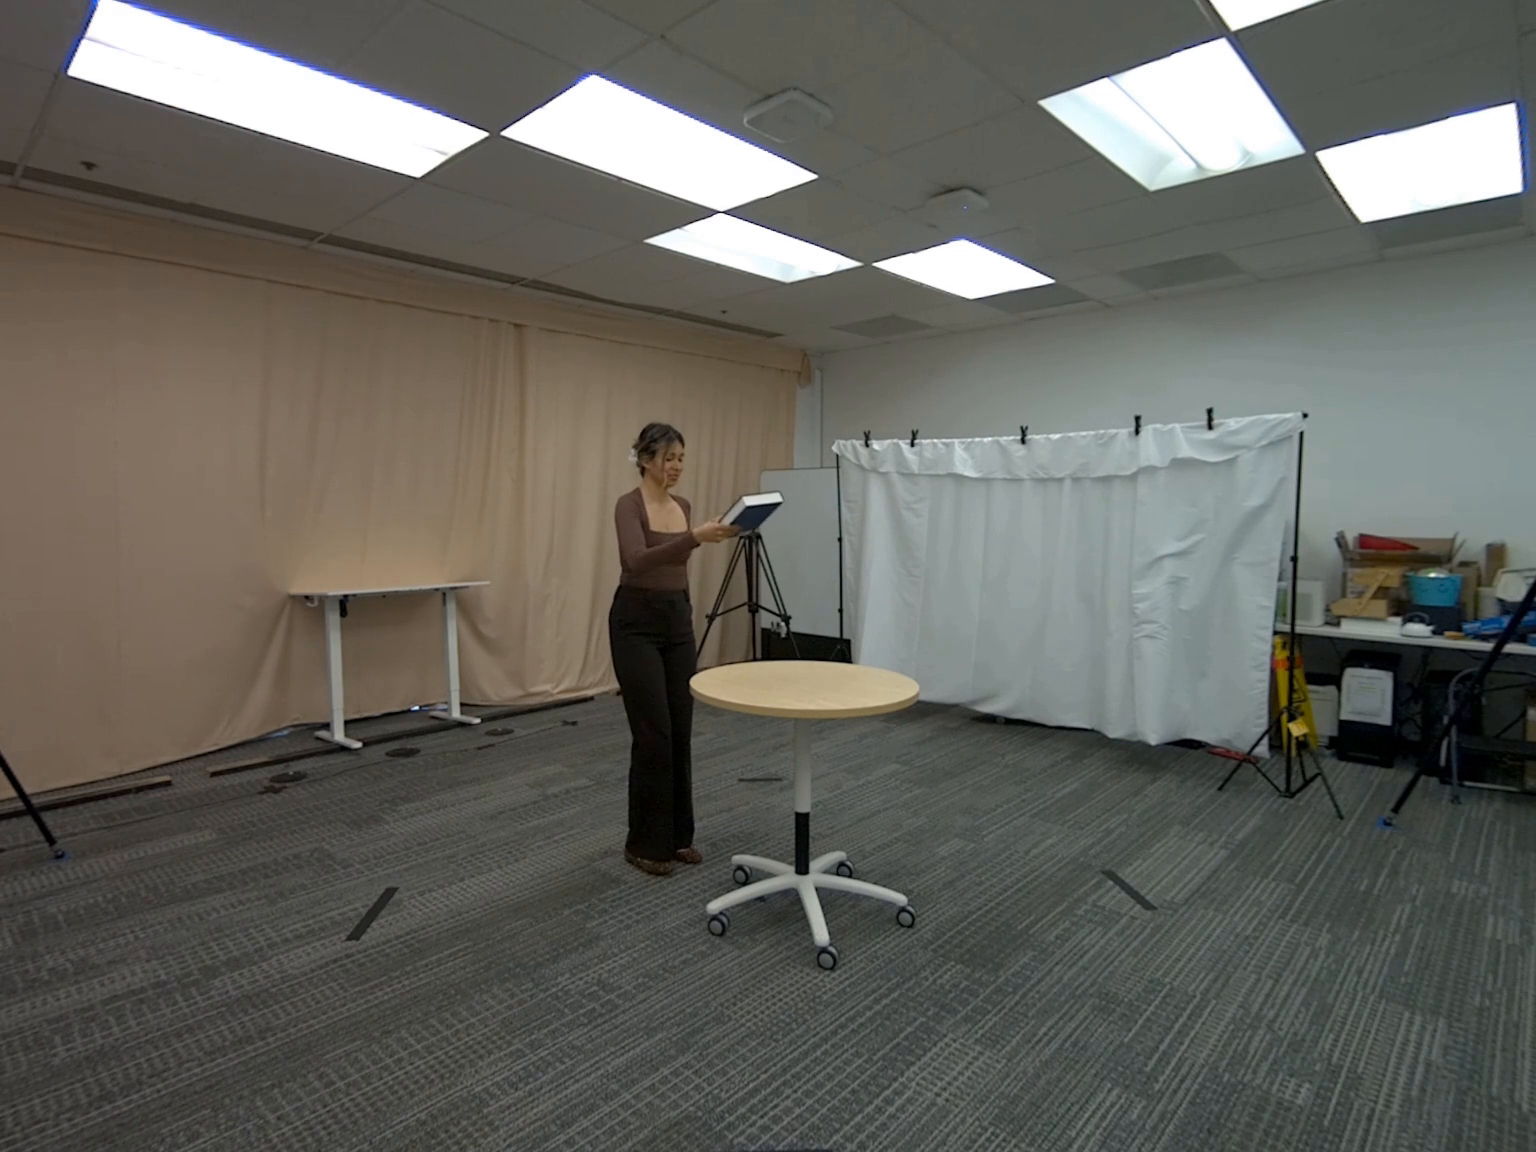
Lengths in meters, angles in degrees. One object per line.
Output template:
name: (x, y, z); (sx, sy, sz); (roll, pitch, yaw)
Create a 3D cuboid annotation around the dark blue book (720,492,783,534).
dark blue book: (-0.075, -0.206, 2.923); (0.159, 0.046, 0.248); (-10, -19, -36)
